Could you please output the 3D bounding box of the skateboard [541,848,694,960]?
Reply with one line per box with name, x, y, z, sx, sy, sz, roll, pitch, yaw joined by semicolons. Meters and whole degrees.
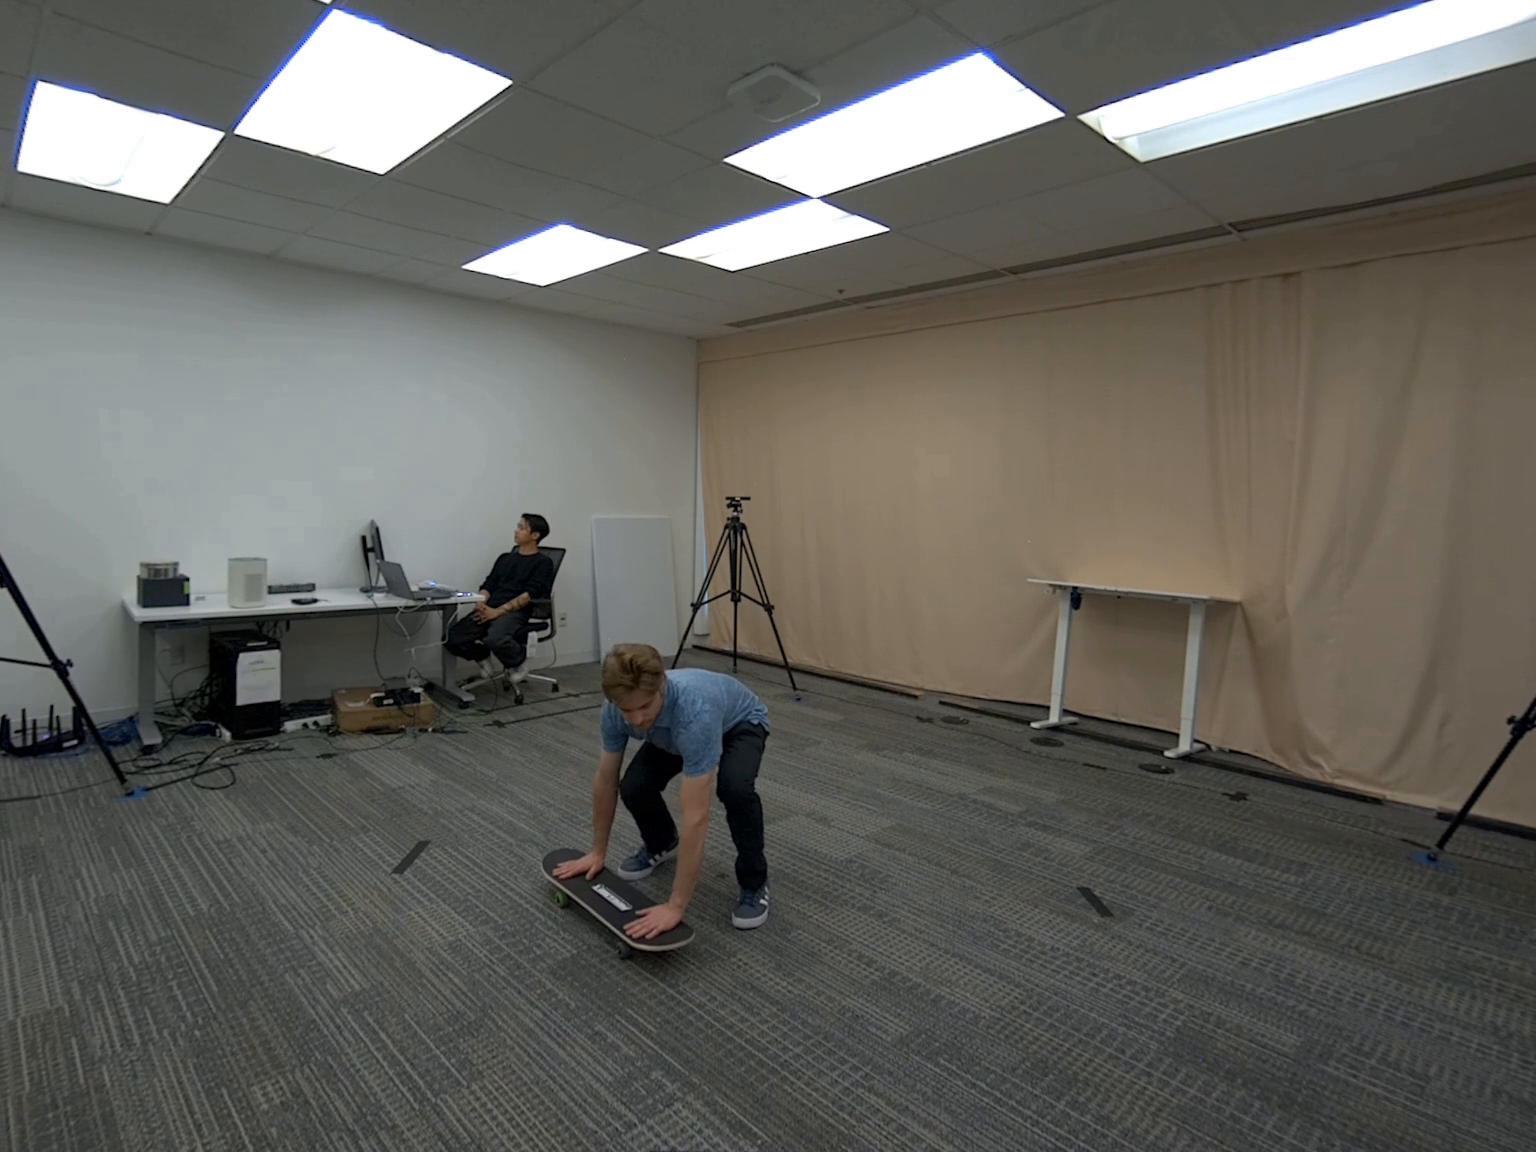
skateboard;-0.514;1.074;2.736;0.189;0.110;0.806;-5;9;-40
